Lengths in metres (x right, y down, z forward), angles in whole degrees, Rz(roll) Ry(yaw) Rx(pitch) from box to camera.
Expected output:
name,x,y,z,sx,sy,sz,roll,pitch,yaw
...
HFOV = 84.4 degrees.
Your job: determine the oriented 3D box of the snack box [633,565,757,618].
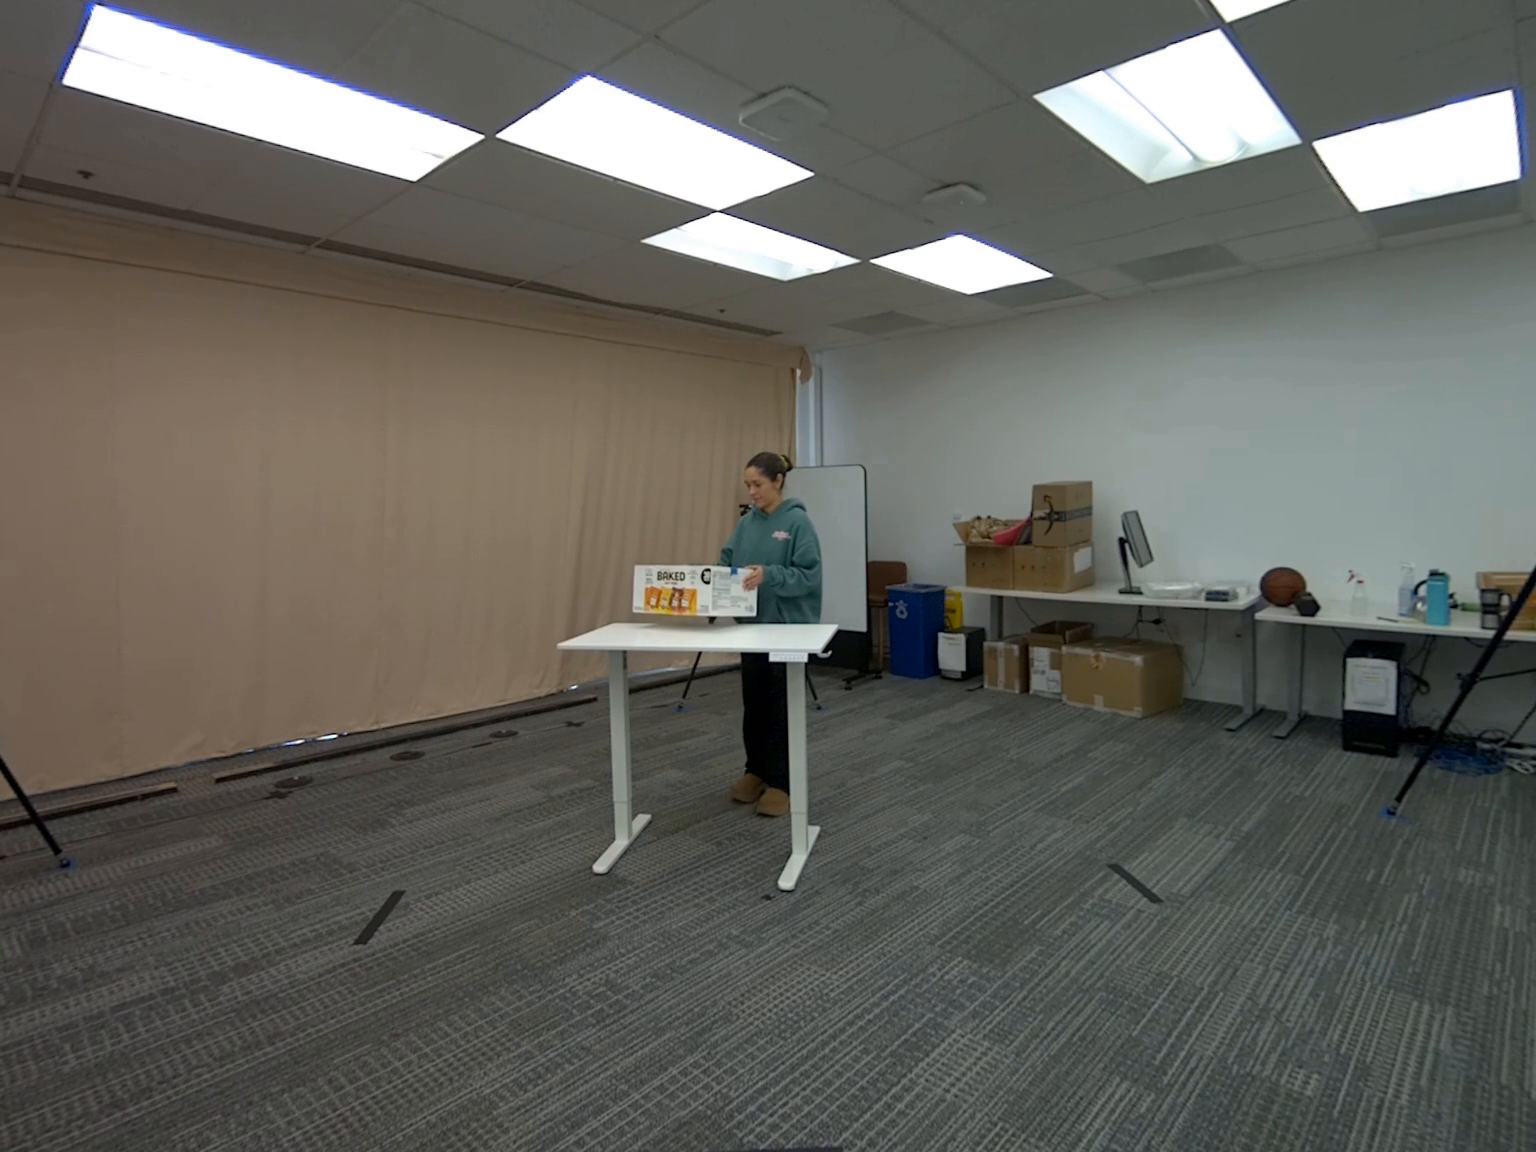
name,x,y,z,sx,sy,sz,roll,pitch,yaw
snack box,-0.307,0.068,3.602,0.417,0.206,0.330,1,-1,34
